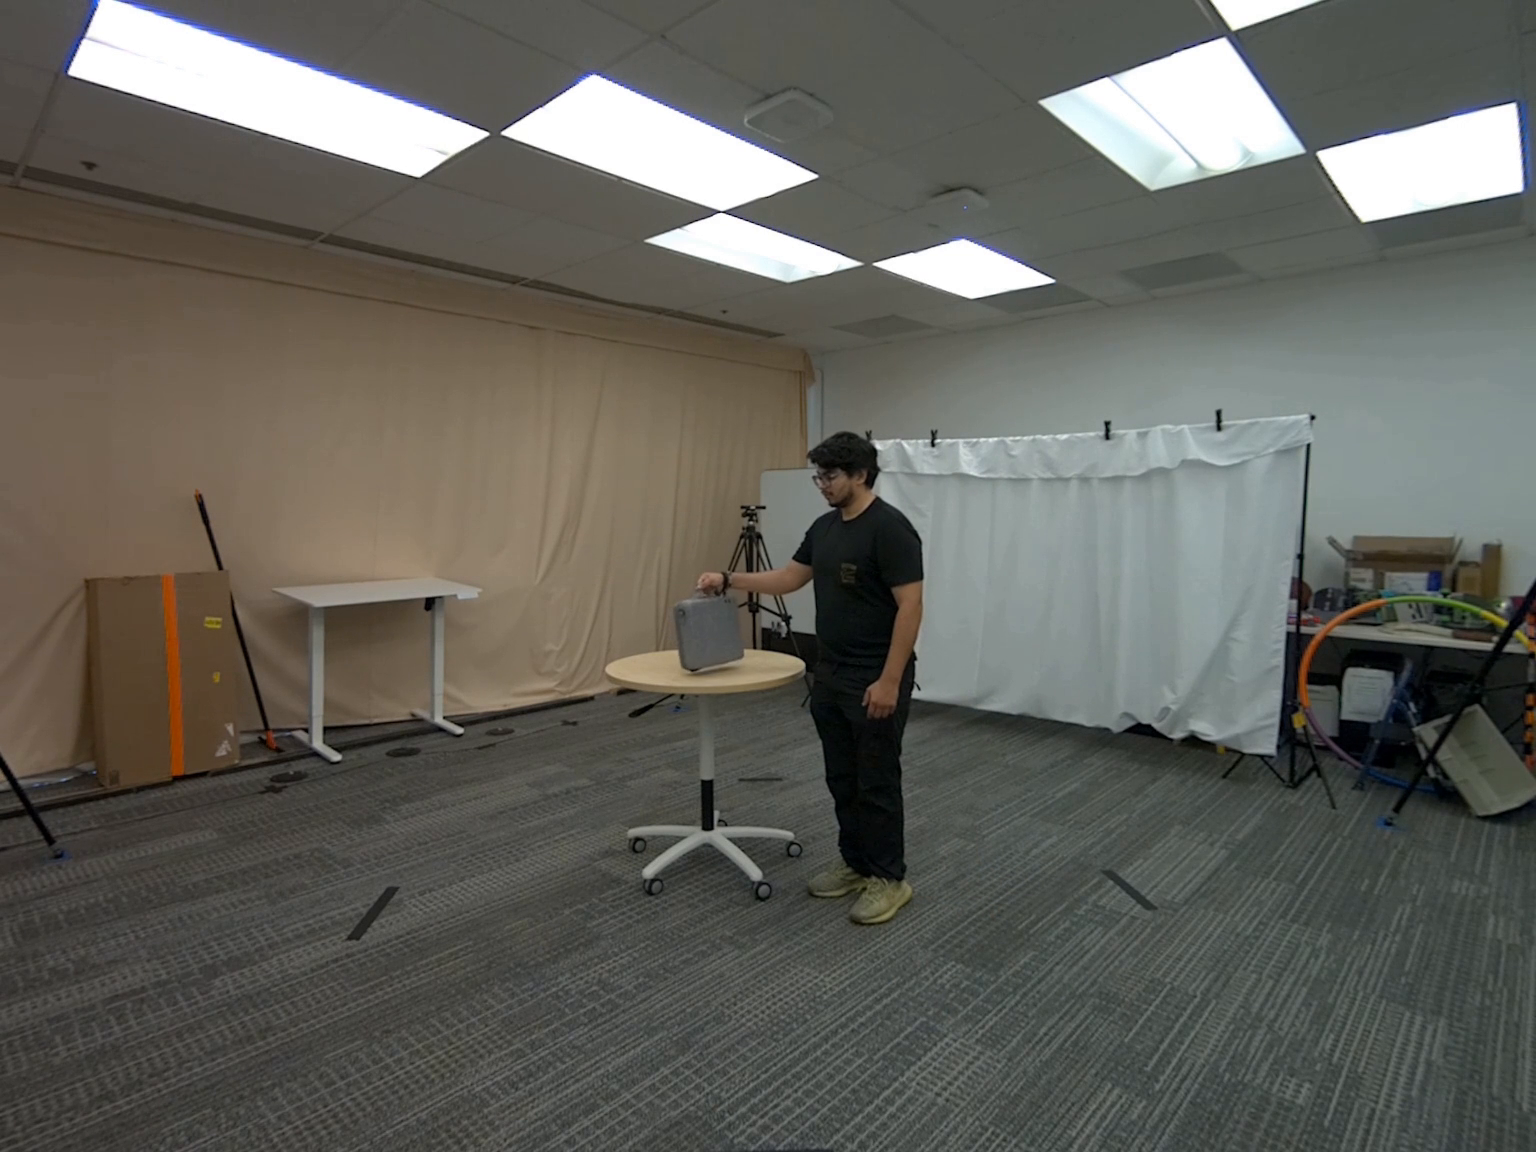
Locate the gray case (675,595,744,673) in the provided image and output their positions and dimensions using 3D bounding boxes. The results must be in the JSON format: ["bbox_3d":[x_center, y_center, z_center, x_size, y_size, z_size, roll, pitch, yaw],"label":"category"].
[{"bbox_3d":[-0.210,0.202,3.105,0.249,0.260,0.107,-7,1,-39],"label":"gray case"}]
